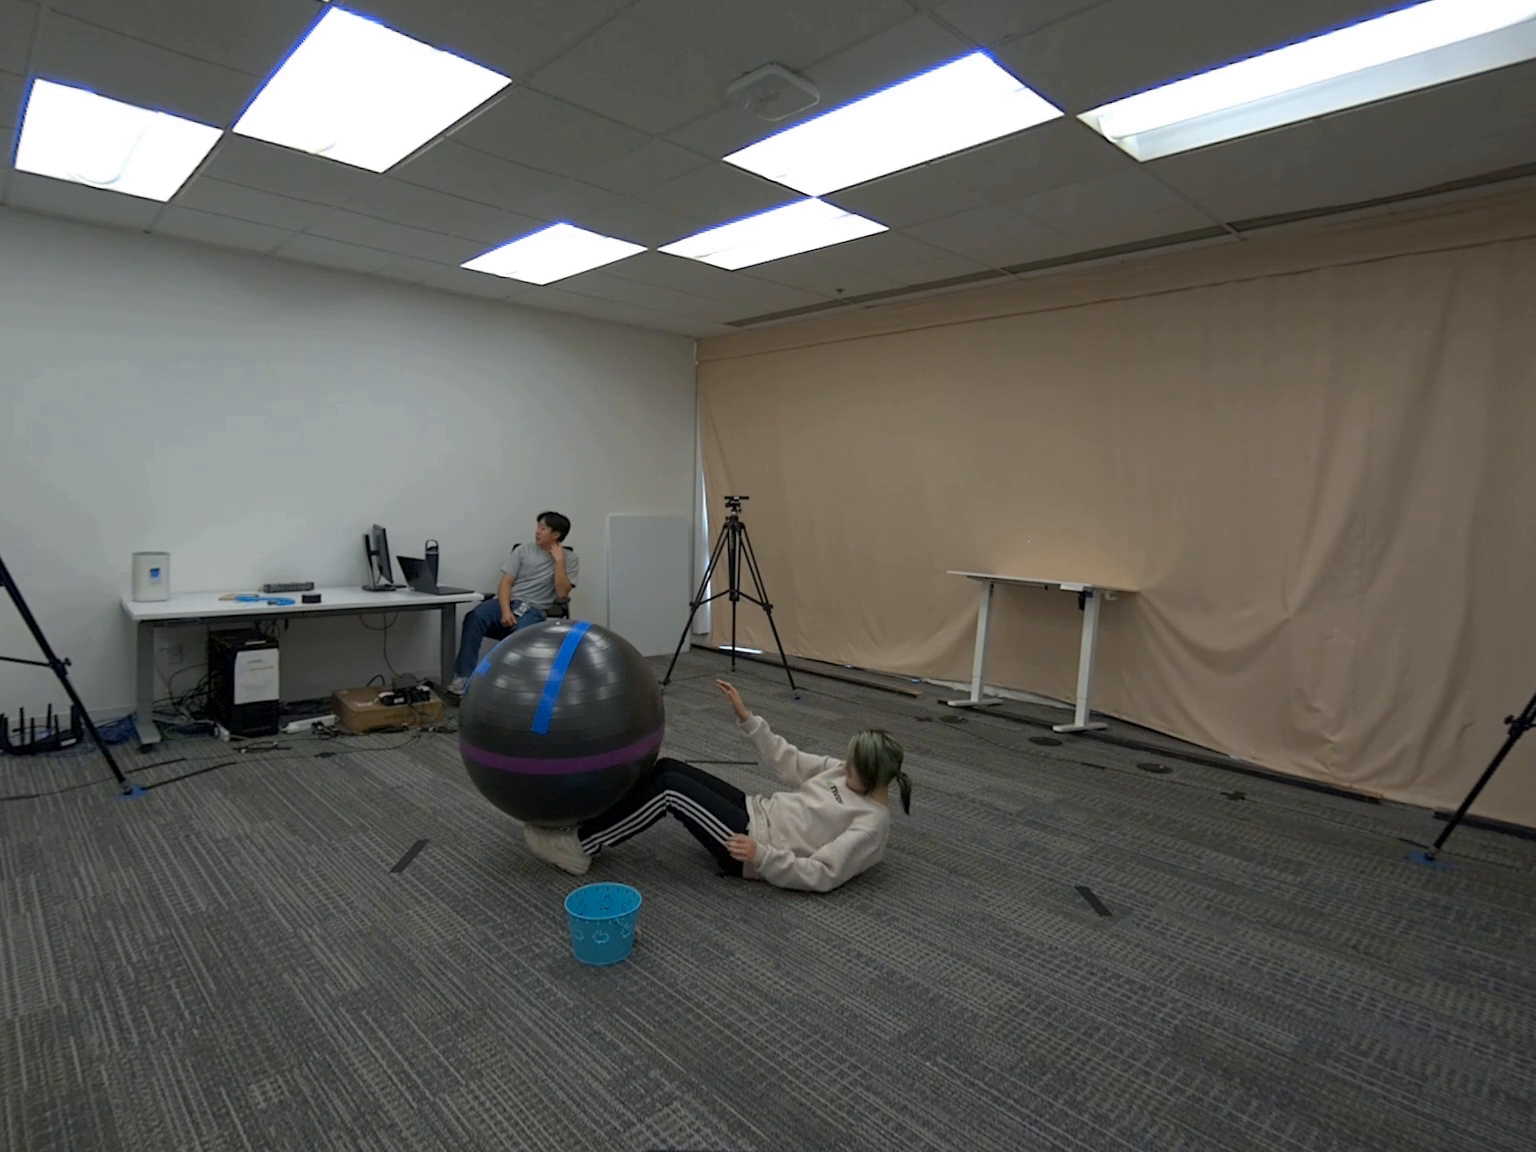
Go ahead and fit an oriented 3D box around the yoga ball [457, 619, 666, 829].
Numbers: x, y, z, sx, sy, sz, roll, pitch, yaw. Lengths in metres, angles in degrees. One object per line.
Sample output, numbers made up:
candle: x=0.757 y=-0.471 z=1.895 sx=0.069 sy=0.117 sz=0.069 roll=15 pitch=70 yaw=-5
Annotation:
yoga ball: x=-0.776 y=0.547 z=3.150 sx=0.757 sy=0.756 sz=0.761 roll=1 pitch=4 yaw=-1
